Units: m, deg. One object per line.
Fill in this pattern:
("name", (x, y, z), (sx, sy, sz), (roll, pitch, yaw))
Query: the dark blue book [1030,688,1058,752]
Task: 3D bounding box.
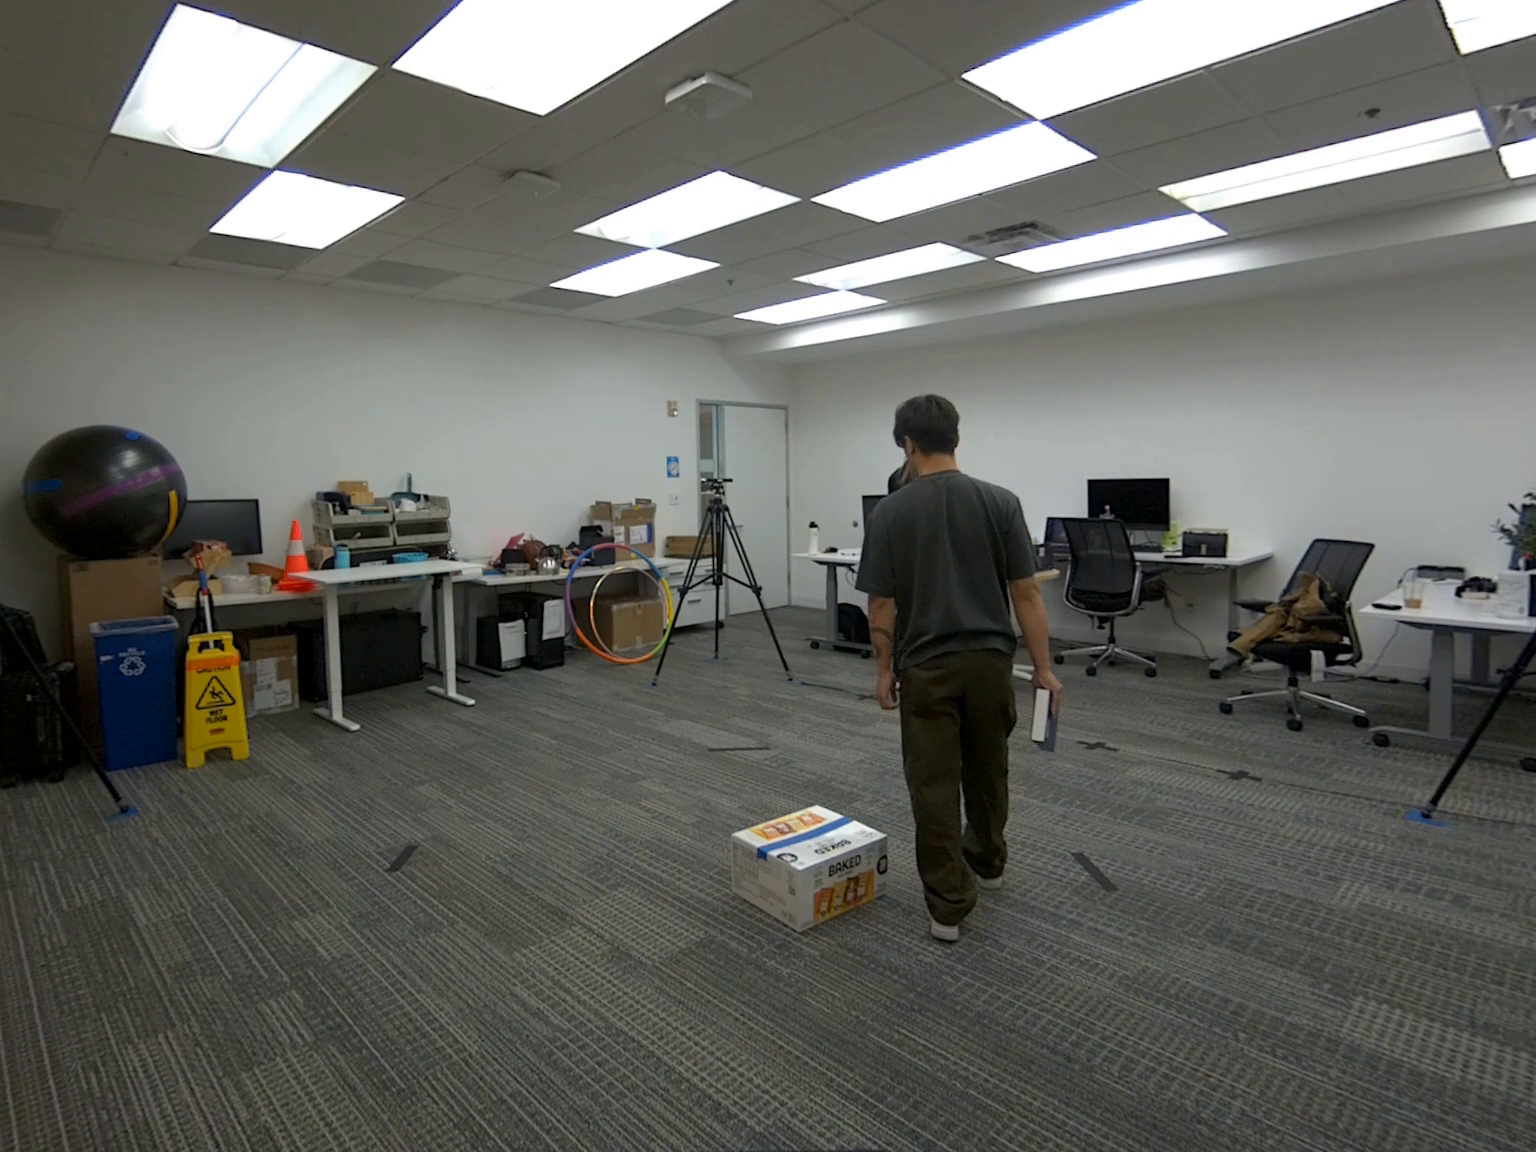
("dark blue book", (0.865, 0.447, 2.680), (0.046, 0.165, 0.236), (4, -17, 27))
